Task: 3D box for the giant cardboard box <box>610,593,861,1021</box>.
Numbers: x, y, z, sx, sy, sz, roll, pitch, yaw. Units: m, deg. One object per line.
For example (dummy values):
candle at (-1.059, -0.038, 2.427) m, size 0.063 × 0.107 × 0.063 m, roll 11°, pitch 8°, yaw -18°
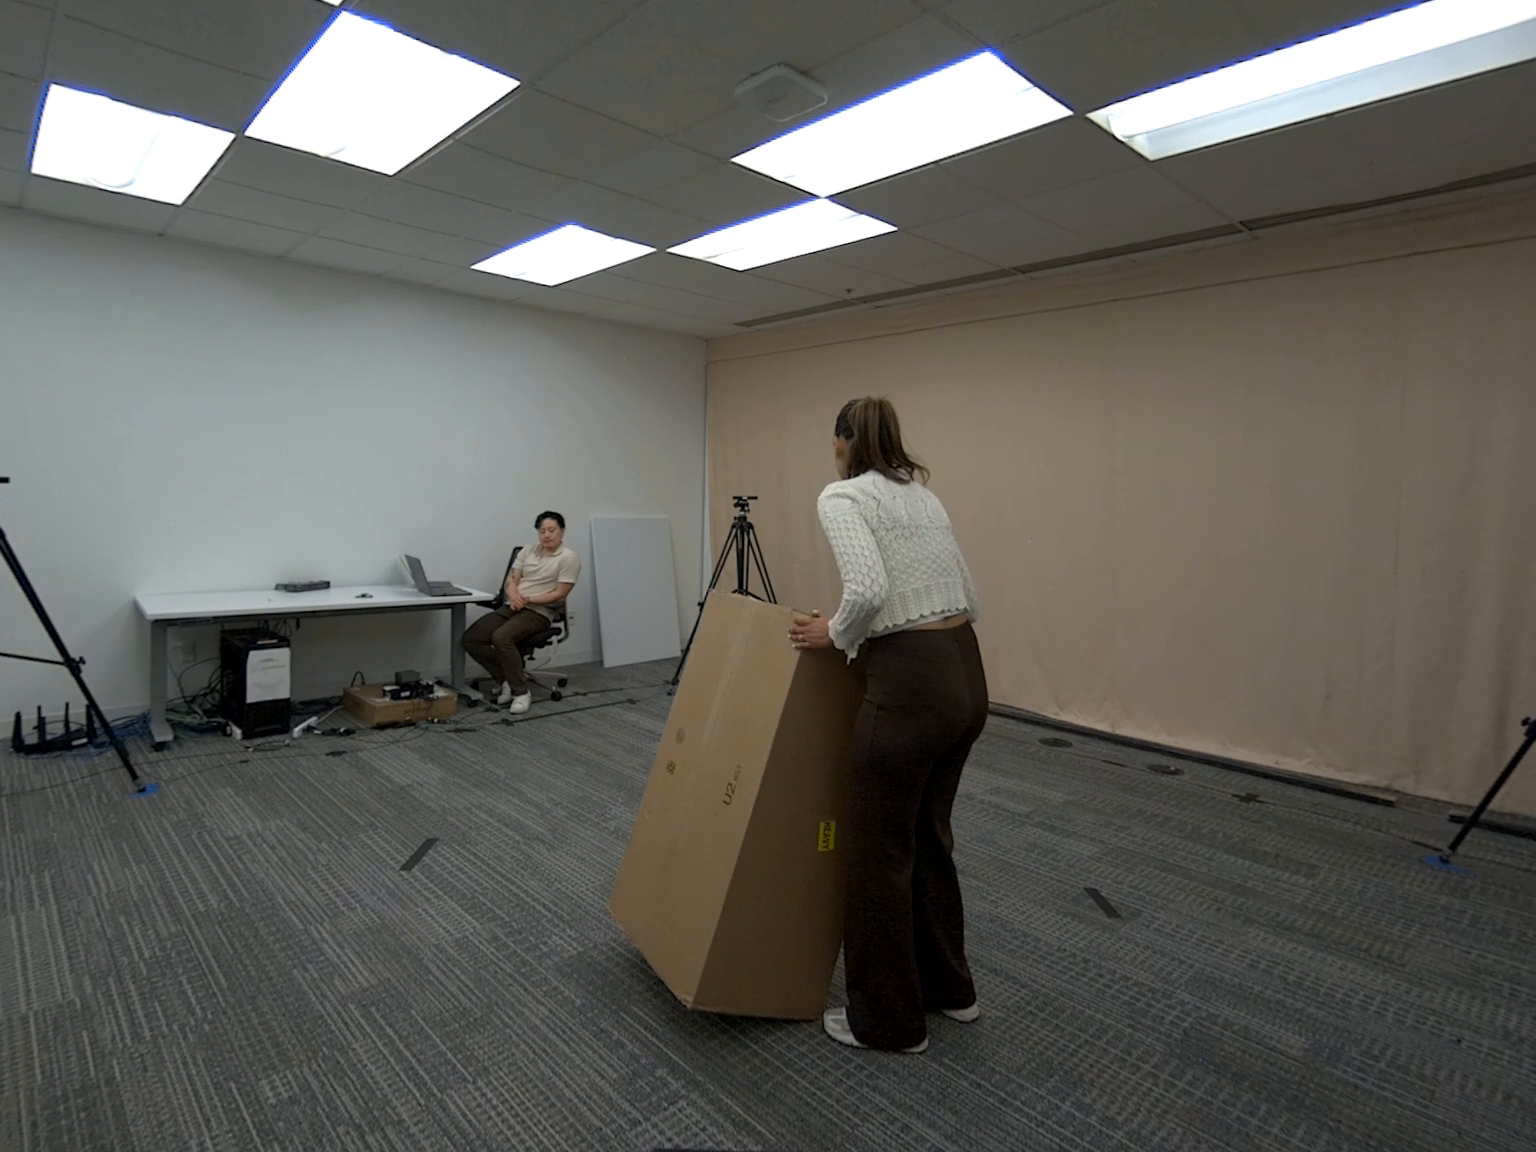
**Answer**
giant cardboard box at (-0.028, 0.618, 2.459) m, size 0.415 × 1.028 × 0.591 m, roll 21°, pitch -7°, yaw -30°
